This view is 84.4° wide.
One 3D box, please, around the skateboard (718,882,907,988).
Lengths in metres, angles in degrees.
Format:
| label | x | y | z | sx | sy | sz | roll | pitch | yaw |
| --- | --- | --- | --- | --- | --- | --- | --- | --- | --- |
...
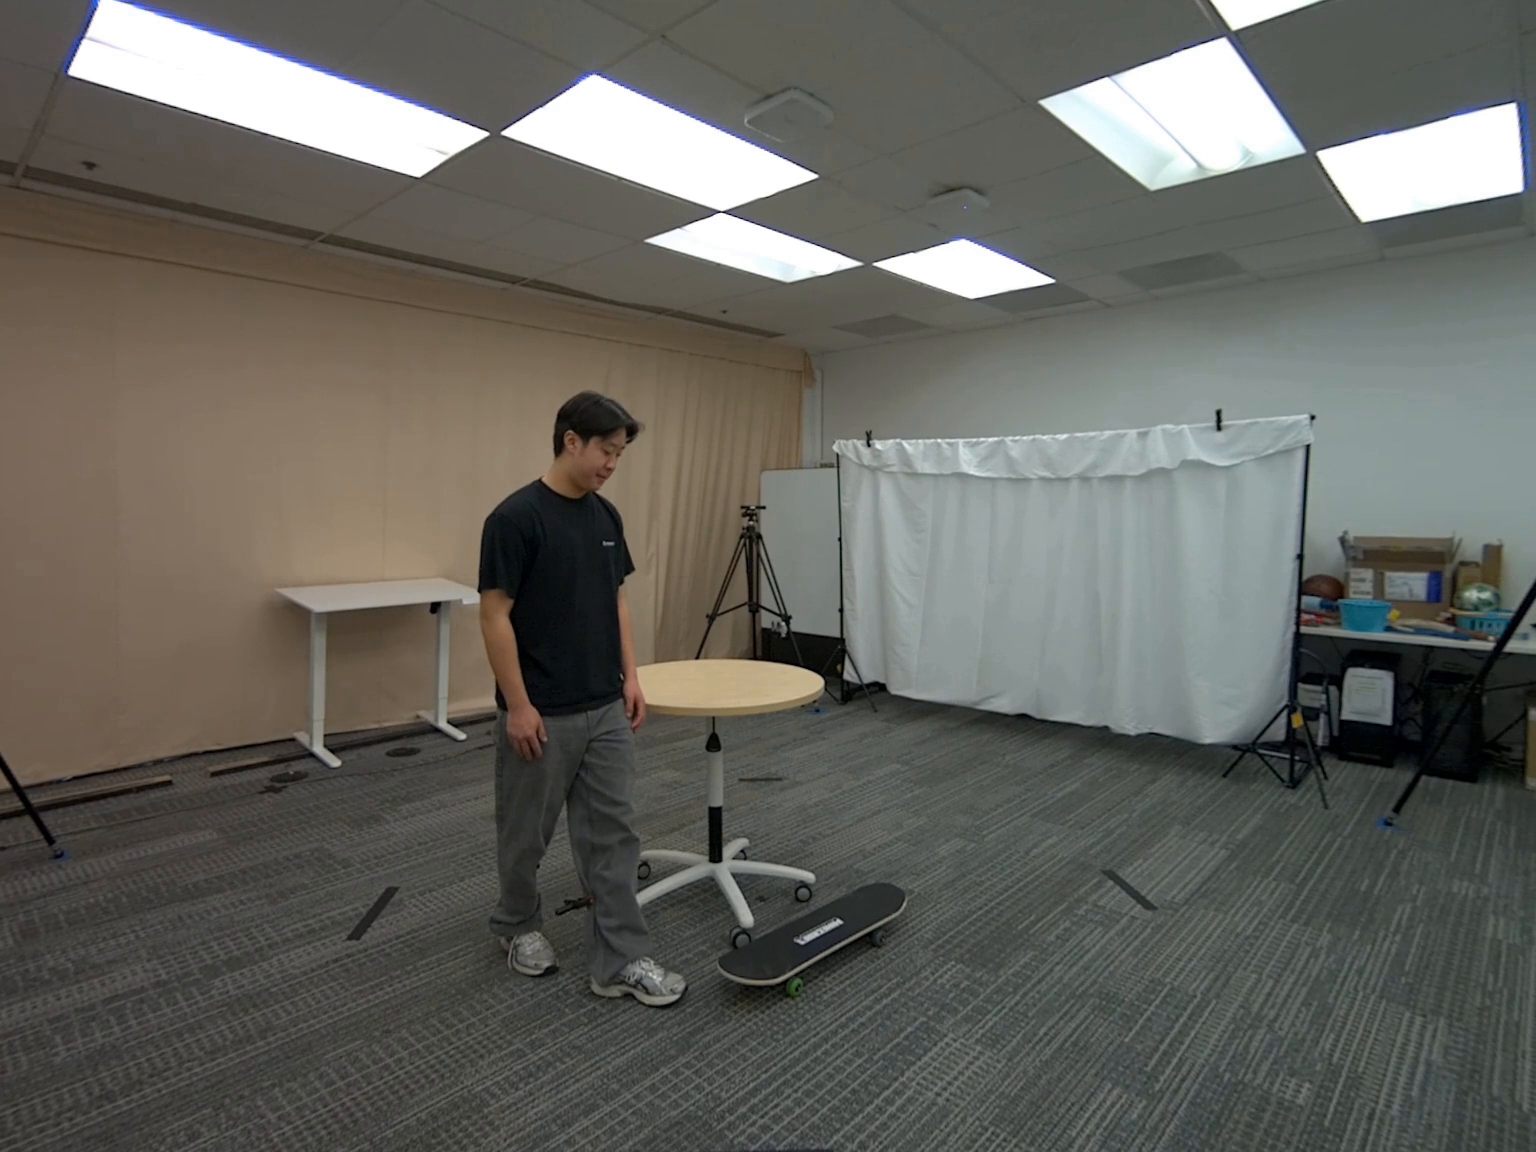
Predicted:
| label | x | y | z | sx | sy | sz | roll | pitch | yaw |
| --- | --- | --- | --- | --- | --- | --- | --- | --- | --- |
| skateboard | 0.159 | 1.127 | 2.578 | 0.761 | 0.110 | 0.200 | -5 | 6 | -44 |
